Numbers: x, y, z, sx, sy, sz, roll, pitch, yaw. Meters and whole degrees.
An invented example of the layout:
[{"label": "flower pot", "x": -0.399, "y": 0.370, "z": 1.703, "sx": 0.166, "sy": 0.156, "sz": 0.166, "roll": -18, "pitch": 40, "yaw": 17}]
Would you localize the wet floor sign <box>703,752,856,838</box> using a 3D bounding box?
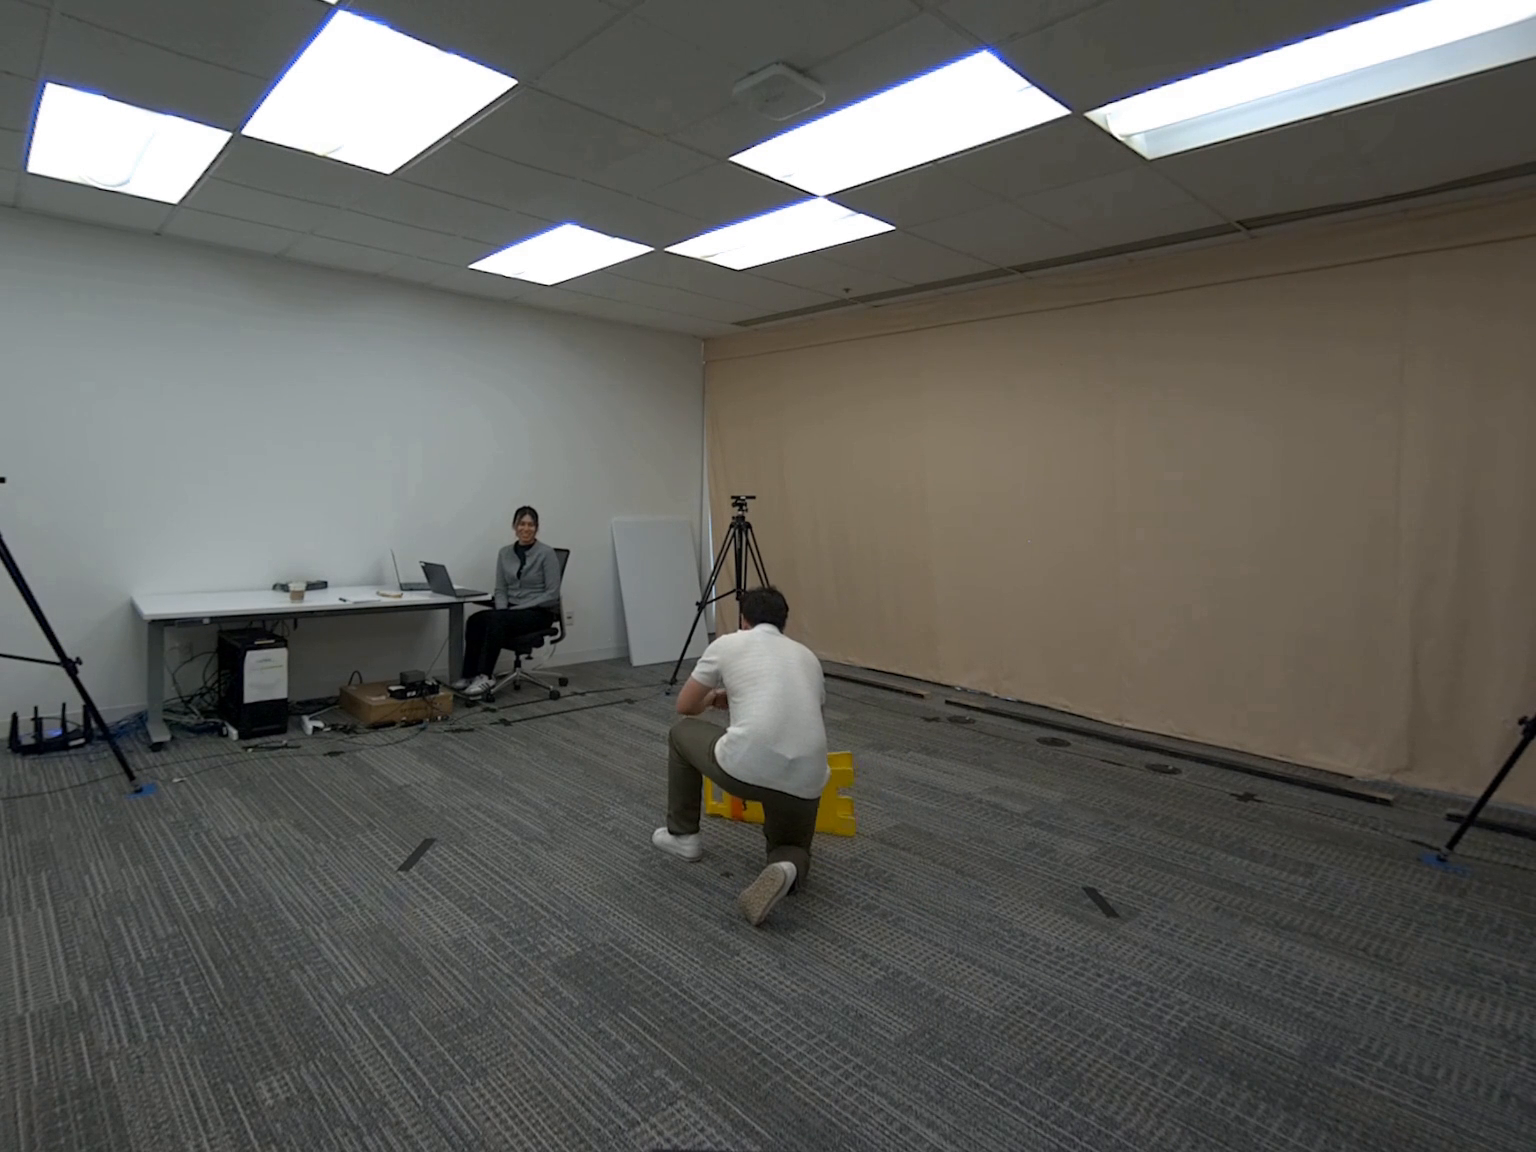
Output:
[{"label": "wet floor sign", "x": 0.039, "y": 0.932, "z": 3.642, "sx": 0.649, "sy": 0.282, "sz": 0.288, "roll": -1, "pitch": 1, "yaw": 6}]
